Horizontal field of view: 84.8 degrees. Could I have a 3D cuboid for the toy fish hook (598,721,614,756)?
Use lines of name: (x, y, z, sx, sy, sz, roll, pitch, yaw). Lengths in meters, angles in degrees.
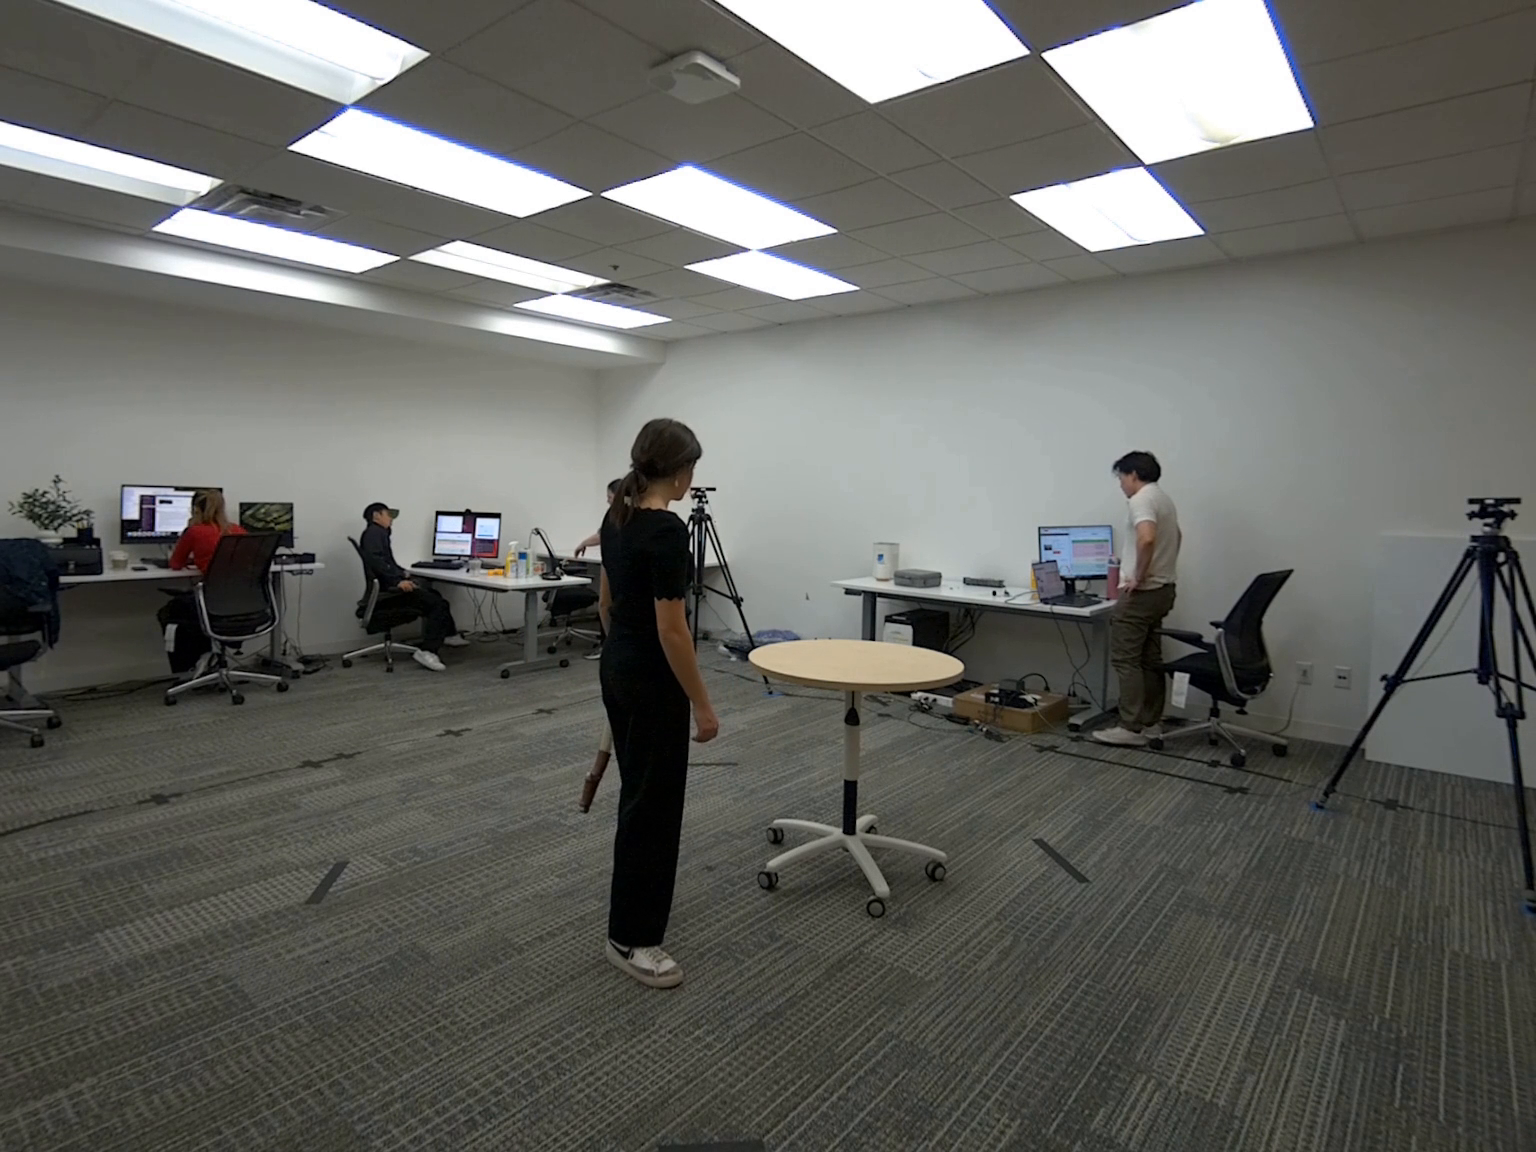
toy fish hook: (-0.486, 0.530, 2.802, 0.050, 0.511, 0.215, 7, -19, 33)
